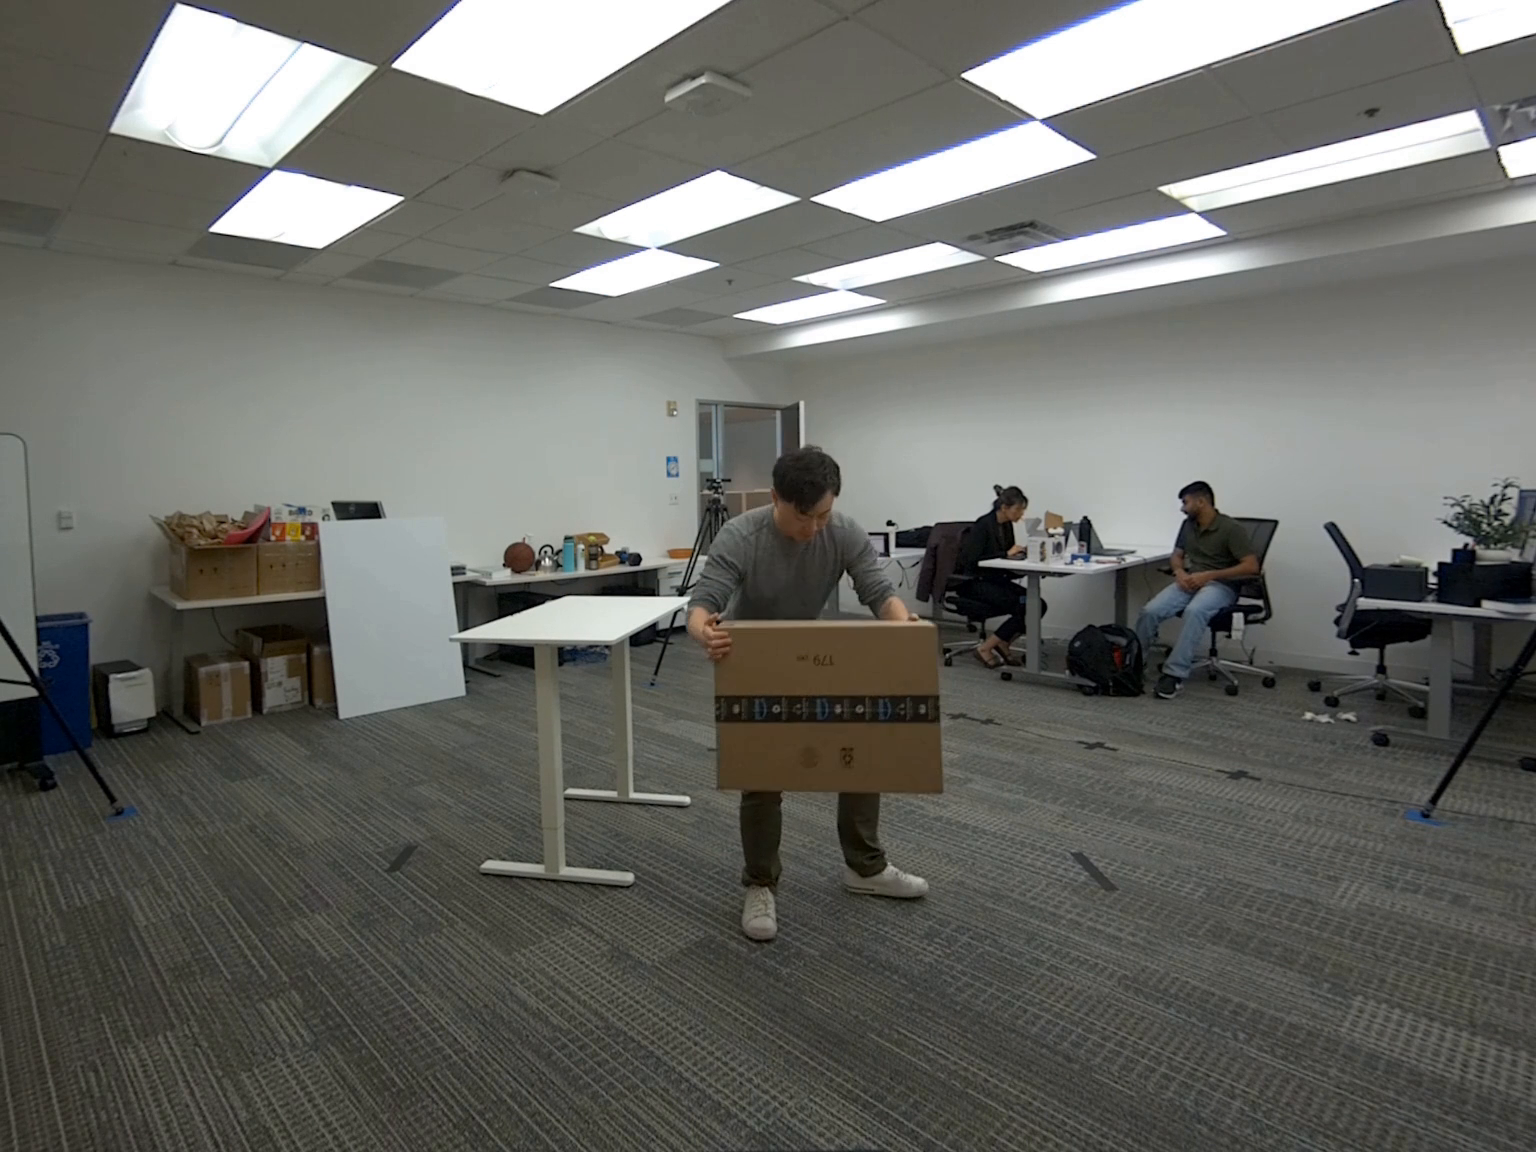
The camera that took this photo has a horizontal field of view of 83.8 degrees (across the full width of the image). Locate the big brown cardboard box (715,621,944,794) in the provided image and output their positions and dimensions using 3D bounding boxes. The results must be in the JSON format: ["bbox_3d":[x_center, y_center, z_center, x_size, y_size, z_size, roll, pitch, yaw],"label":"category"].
[{"bbox_3d":[0.142,0.337,2.256,0.593,0.418,0.231,-1,-1,8],"label":"big brown cardboard box"}]
